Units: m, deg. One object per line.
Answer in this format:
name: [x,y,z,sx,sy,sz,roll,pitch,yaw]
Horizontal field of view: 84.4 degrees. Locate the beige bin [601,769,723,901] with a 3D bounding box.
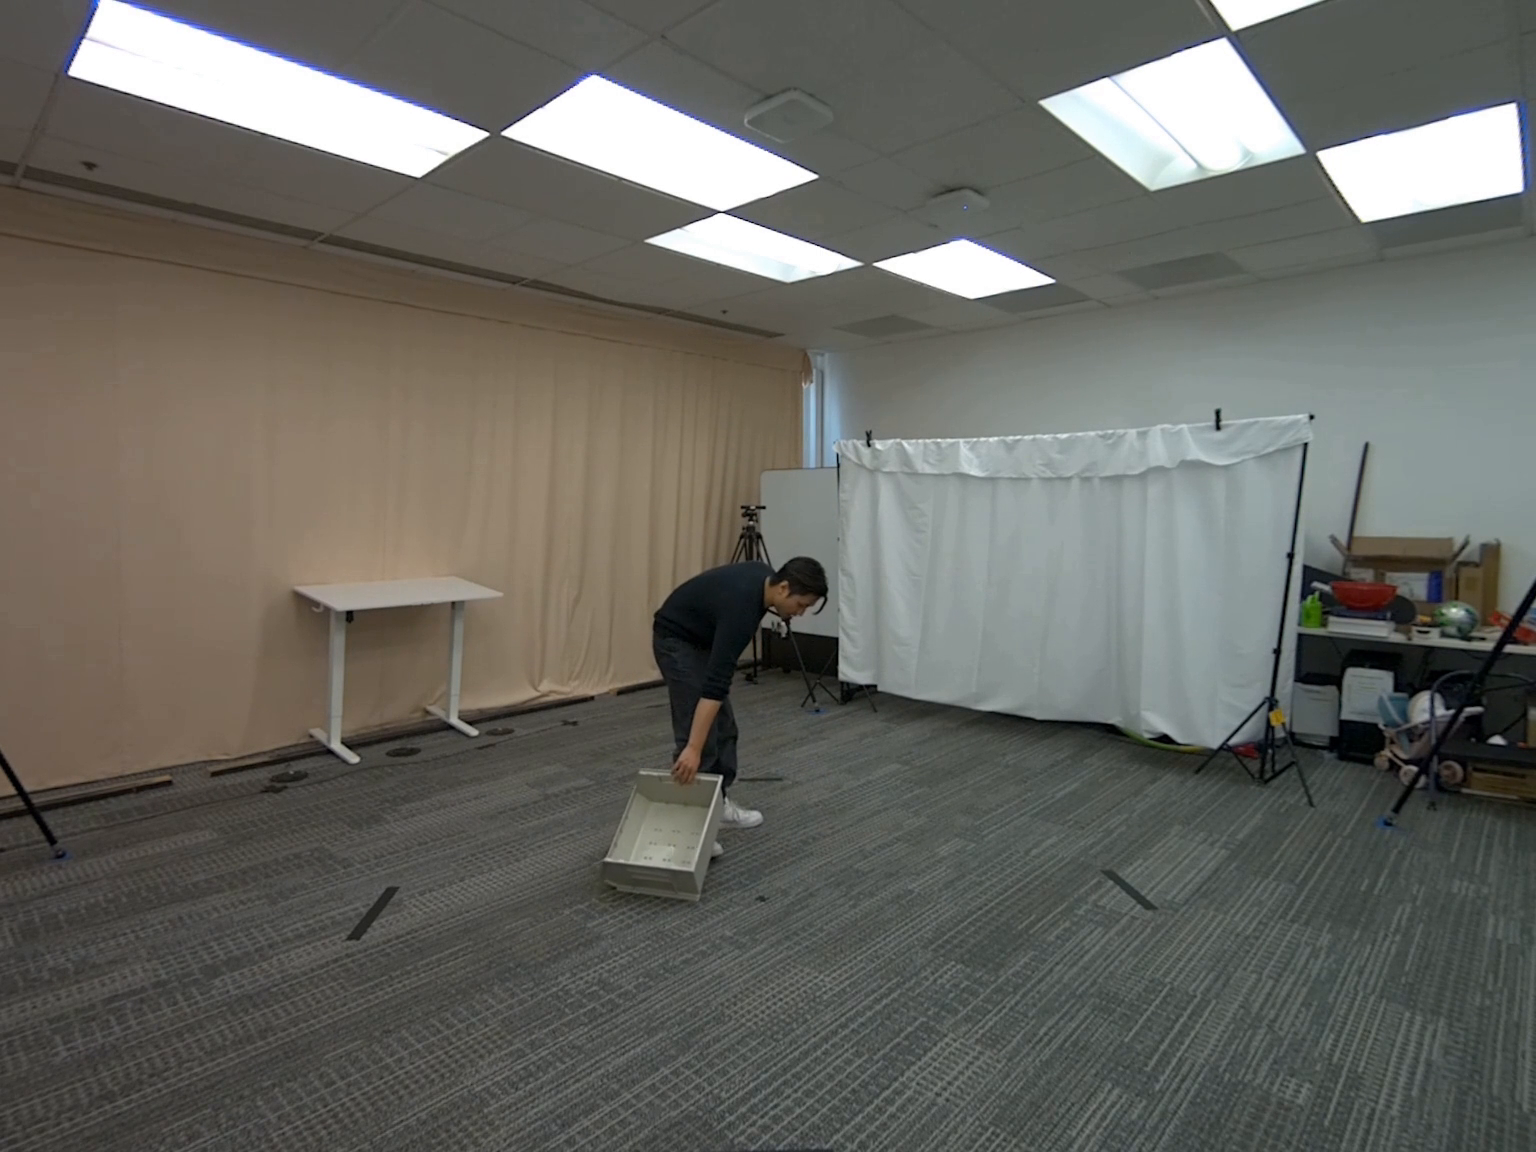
beige bin: [-0.376,0.945,3.129,0.383,0.185,0.424,2,35,14]
